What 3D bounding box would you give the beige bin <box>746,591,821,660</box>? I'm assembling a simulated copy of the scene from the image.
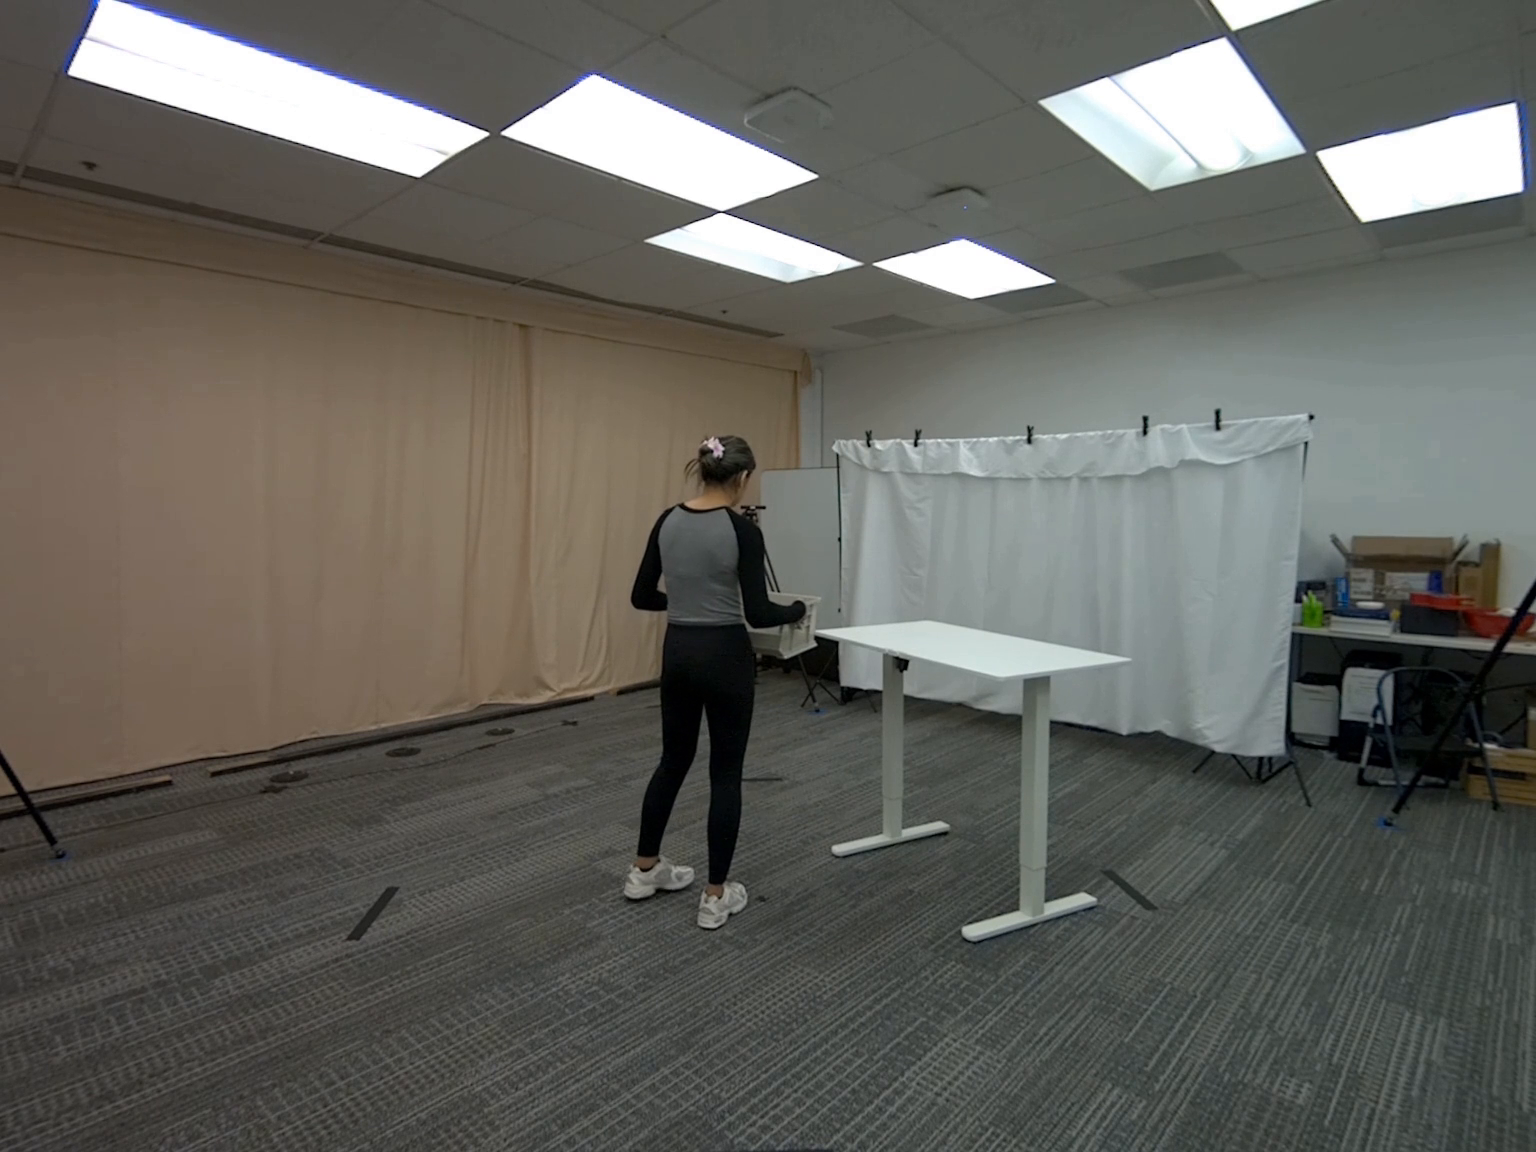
[{"bbox_3d":[-0.067,0.168,3.074,0.433,0.188,0.368,5,5,24],"label":"beige bin"}]
